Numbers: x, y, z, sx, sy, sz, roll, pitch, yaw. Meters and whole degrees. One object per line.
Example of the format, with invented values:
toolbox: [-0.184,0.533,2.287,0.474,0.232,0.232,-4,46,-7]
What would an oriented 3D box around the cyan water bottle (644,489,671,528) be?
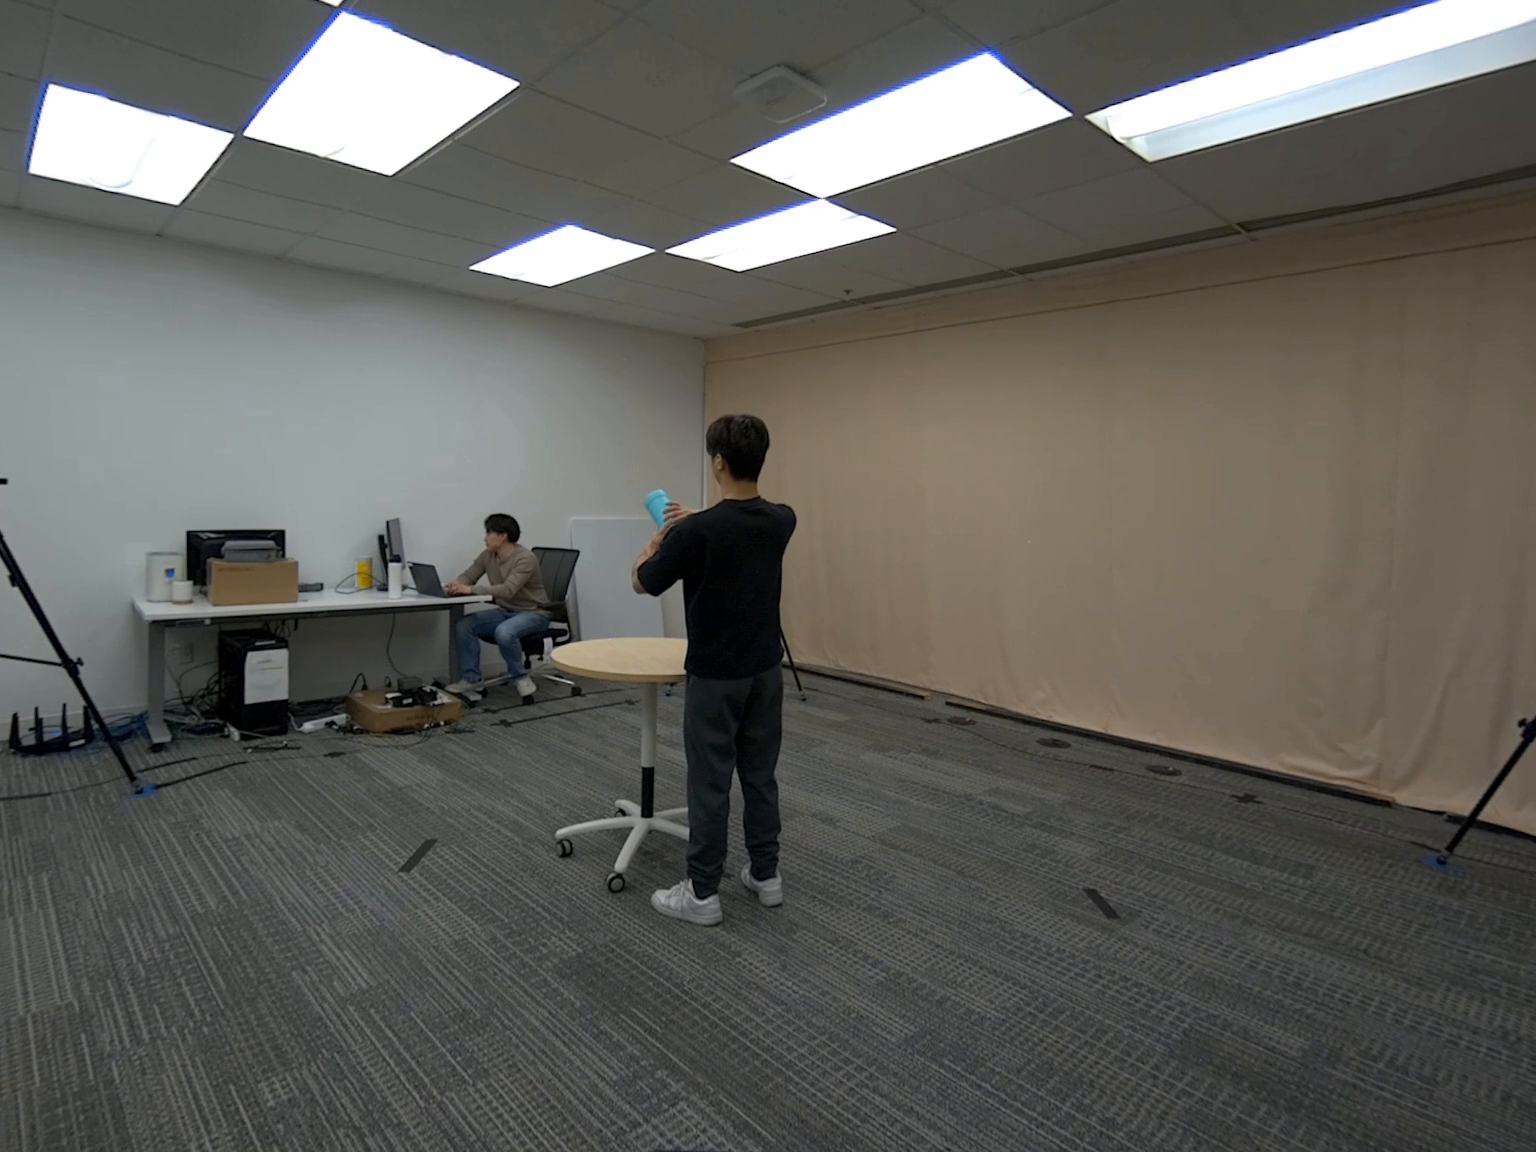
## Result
cyan water bottle: [-0.348,-0.178,3.063,0.092,0.290,0.091,-28,-23,-14]
